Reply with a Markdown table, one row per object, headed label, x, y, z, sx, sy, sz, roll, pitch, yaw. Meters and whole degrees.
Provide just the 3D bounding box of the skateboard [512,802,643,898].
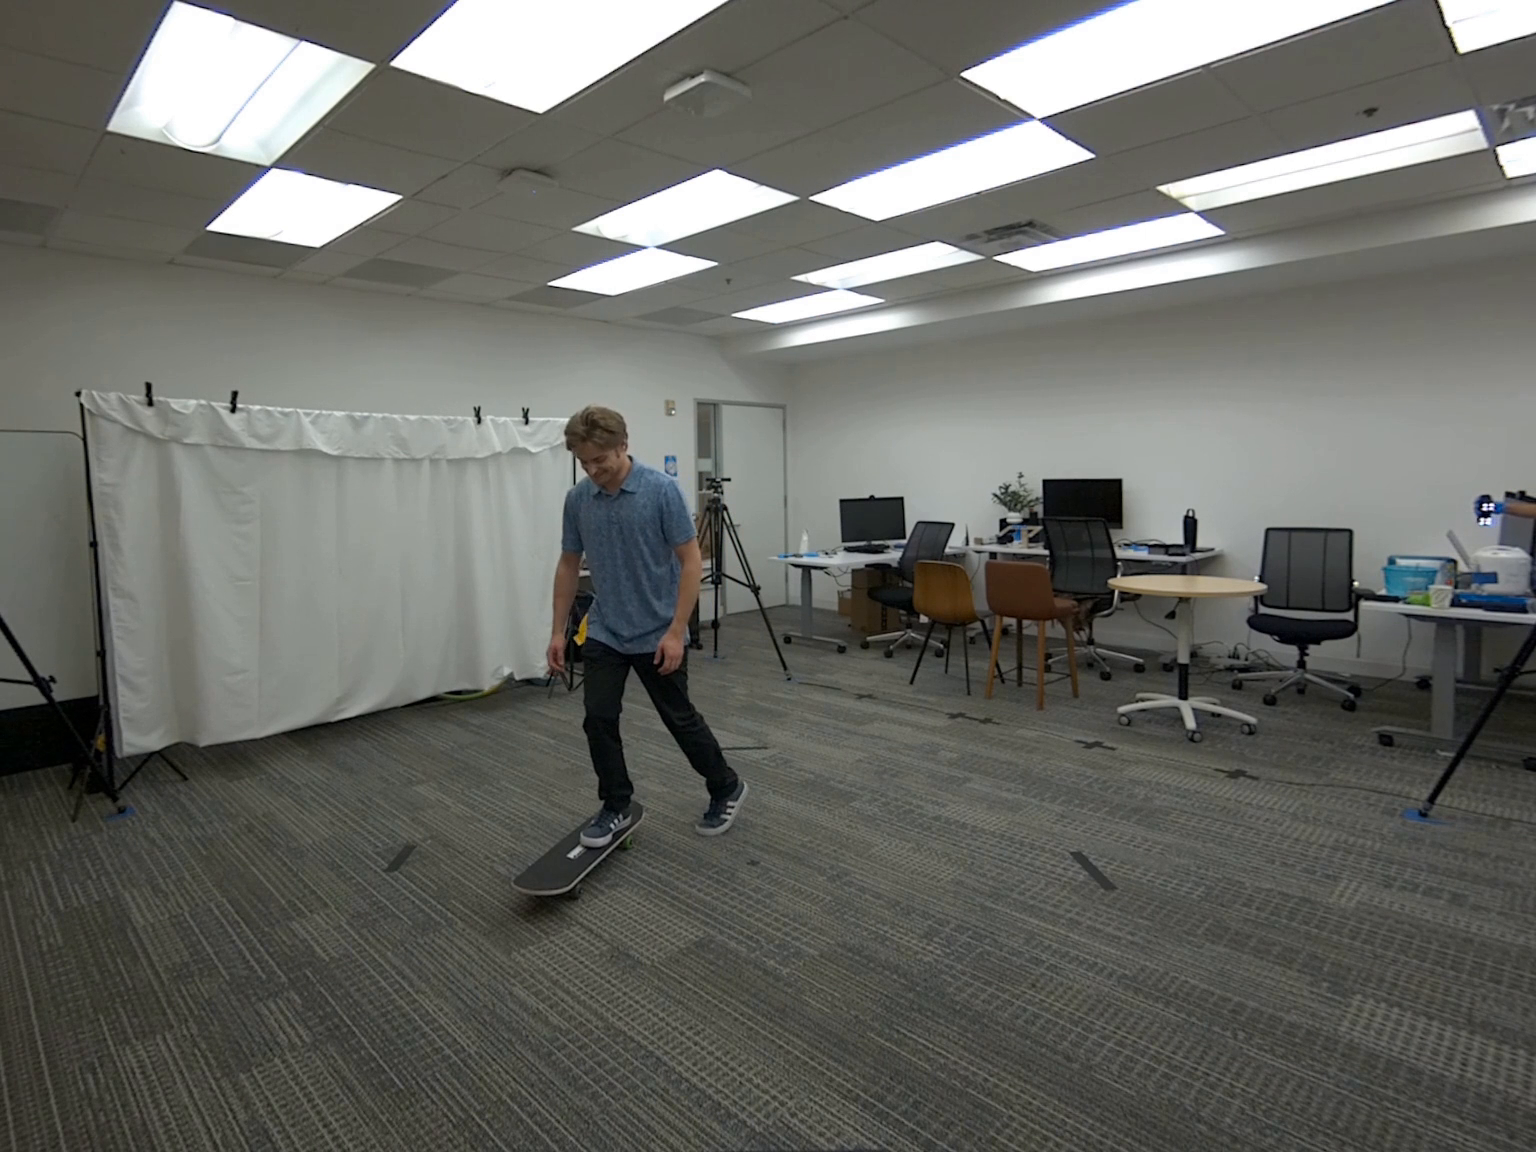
| label | x | y | z | sx | sy | sz | roll | pitch | yaw |
| --- | --- | --- | --- | --- | --- | --- | --- | --- | --- |
| skateboard | -0.654 | 0.997 | 3.076 | 0.197 | 0.110 | 0.776 | 3 | 7 | 15 |
